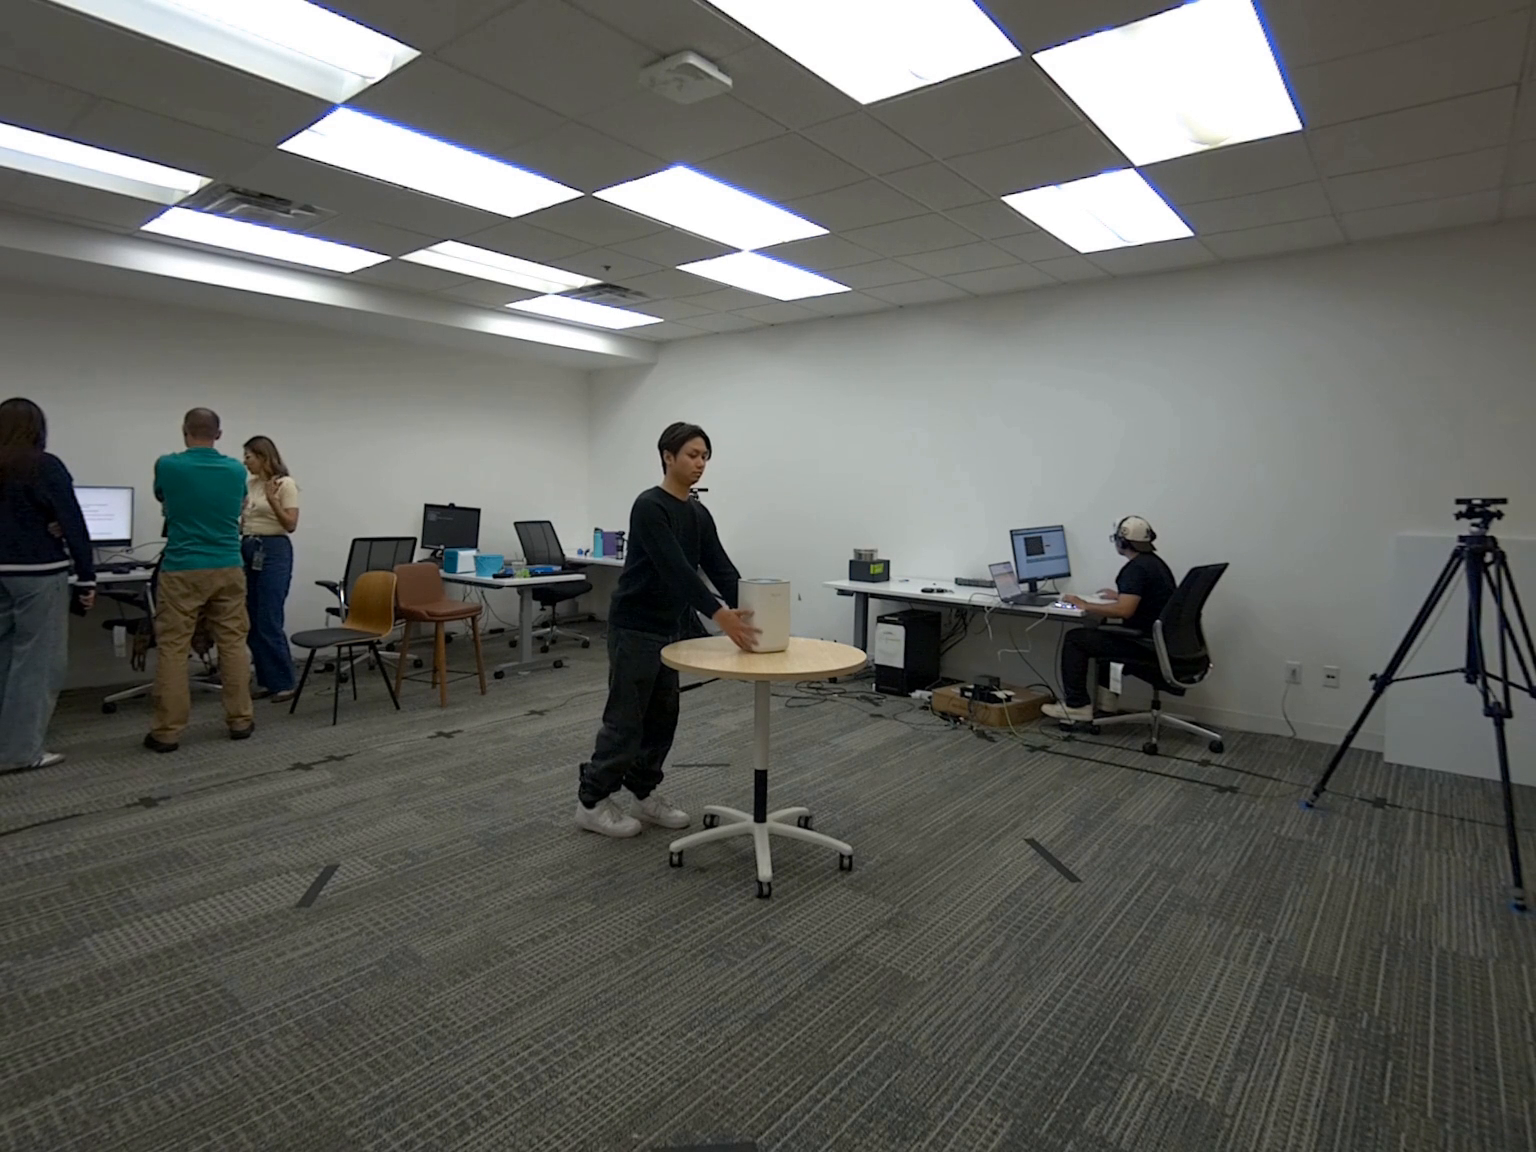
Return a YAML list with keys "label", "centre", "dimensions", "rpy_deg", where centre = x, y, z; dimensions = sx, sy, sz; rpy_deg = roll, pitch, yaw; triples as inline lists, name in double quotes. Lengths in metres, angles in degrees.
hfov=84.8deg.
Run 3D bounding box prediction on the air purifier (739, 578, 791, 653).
- label: "air purifier"
  centre: [-0.029, 0.143, 3.235]
  dimensions: [0.166, 0.265, 0.177]
  rpy_deg: [-2, 4, -34]
